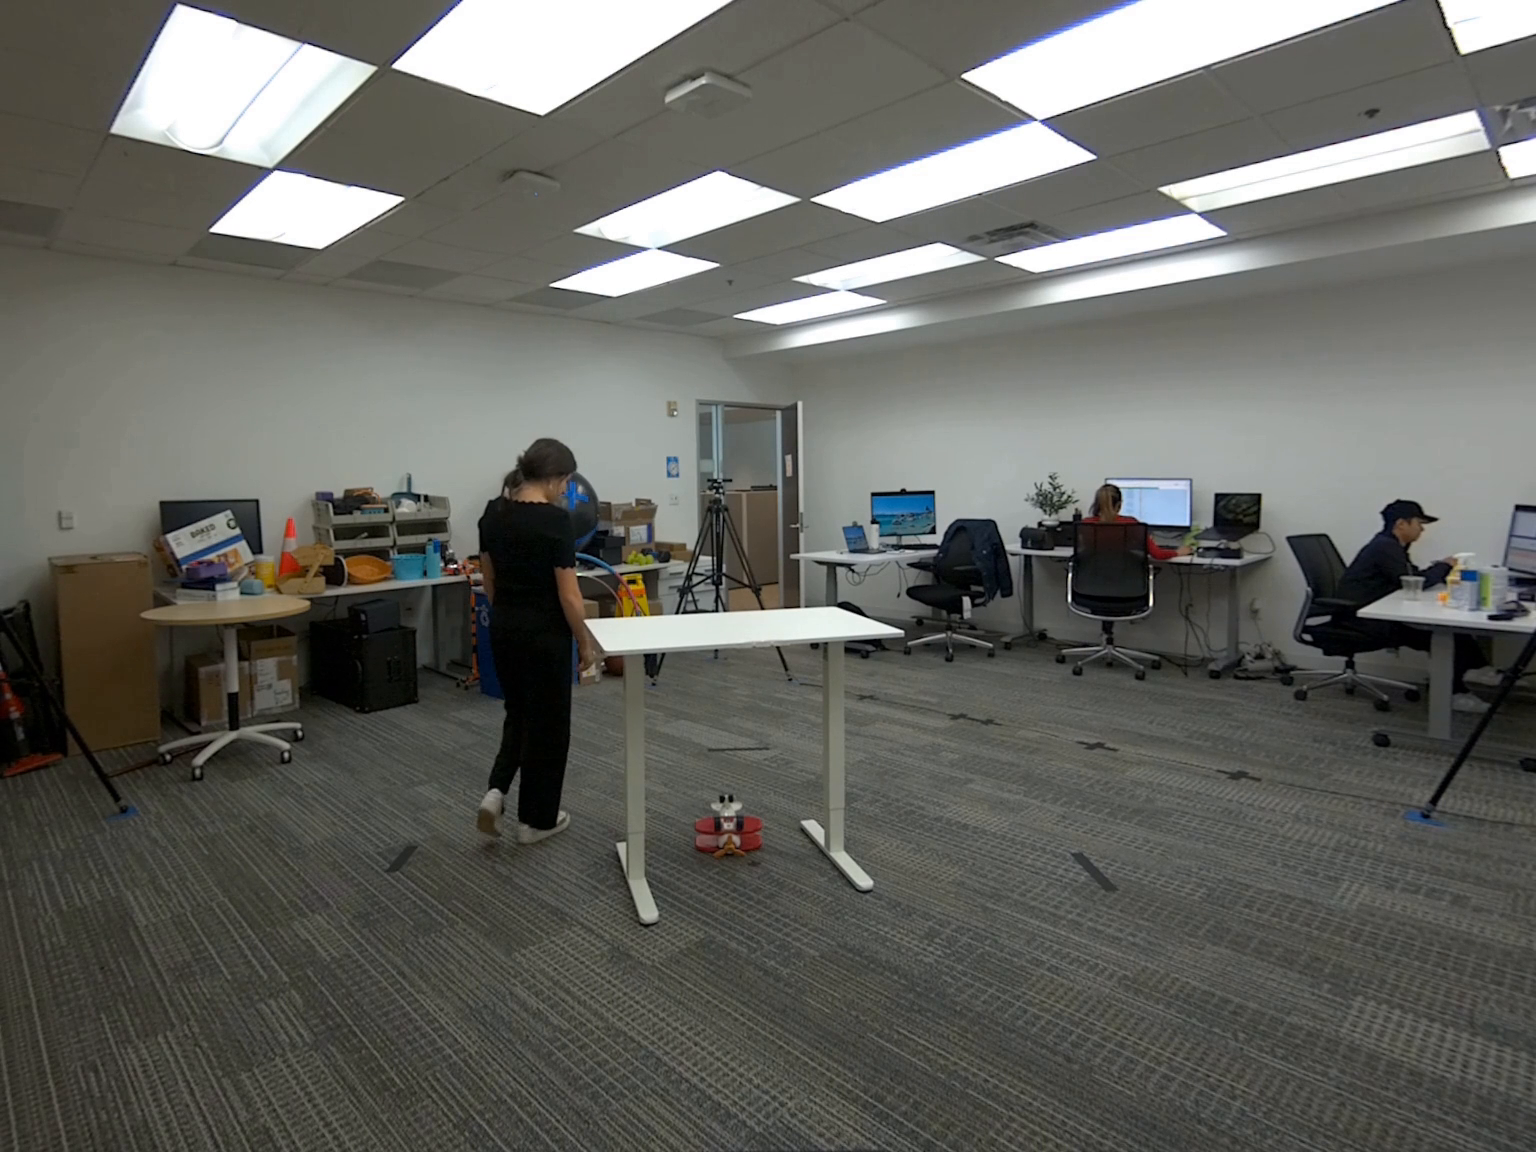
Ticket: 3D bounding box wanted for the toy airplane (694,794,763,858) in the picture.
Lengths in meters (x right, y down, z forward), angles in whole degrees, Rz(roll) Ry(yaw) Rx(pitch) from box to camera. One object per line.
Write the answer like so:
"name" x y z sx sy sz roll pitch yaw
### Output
"toy airplane" -0.131 0.949 3.256 0.257 0.155 0.255 4 11 24
